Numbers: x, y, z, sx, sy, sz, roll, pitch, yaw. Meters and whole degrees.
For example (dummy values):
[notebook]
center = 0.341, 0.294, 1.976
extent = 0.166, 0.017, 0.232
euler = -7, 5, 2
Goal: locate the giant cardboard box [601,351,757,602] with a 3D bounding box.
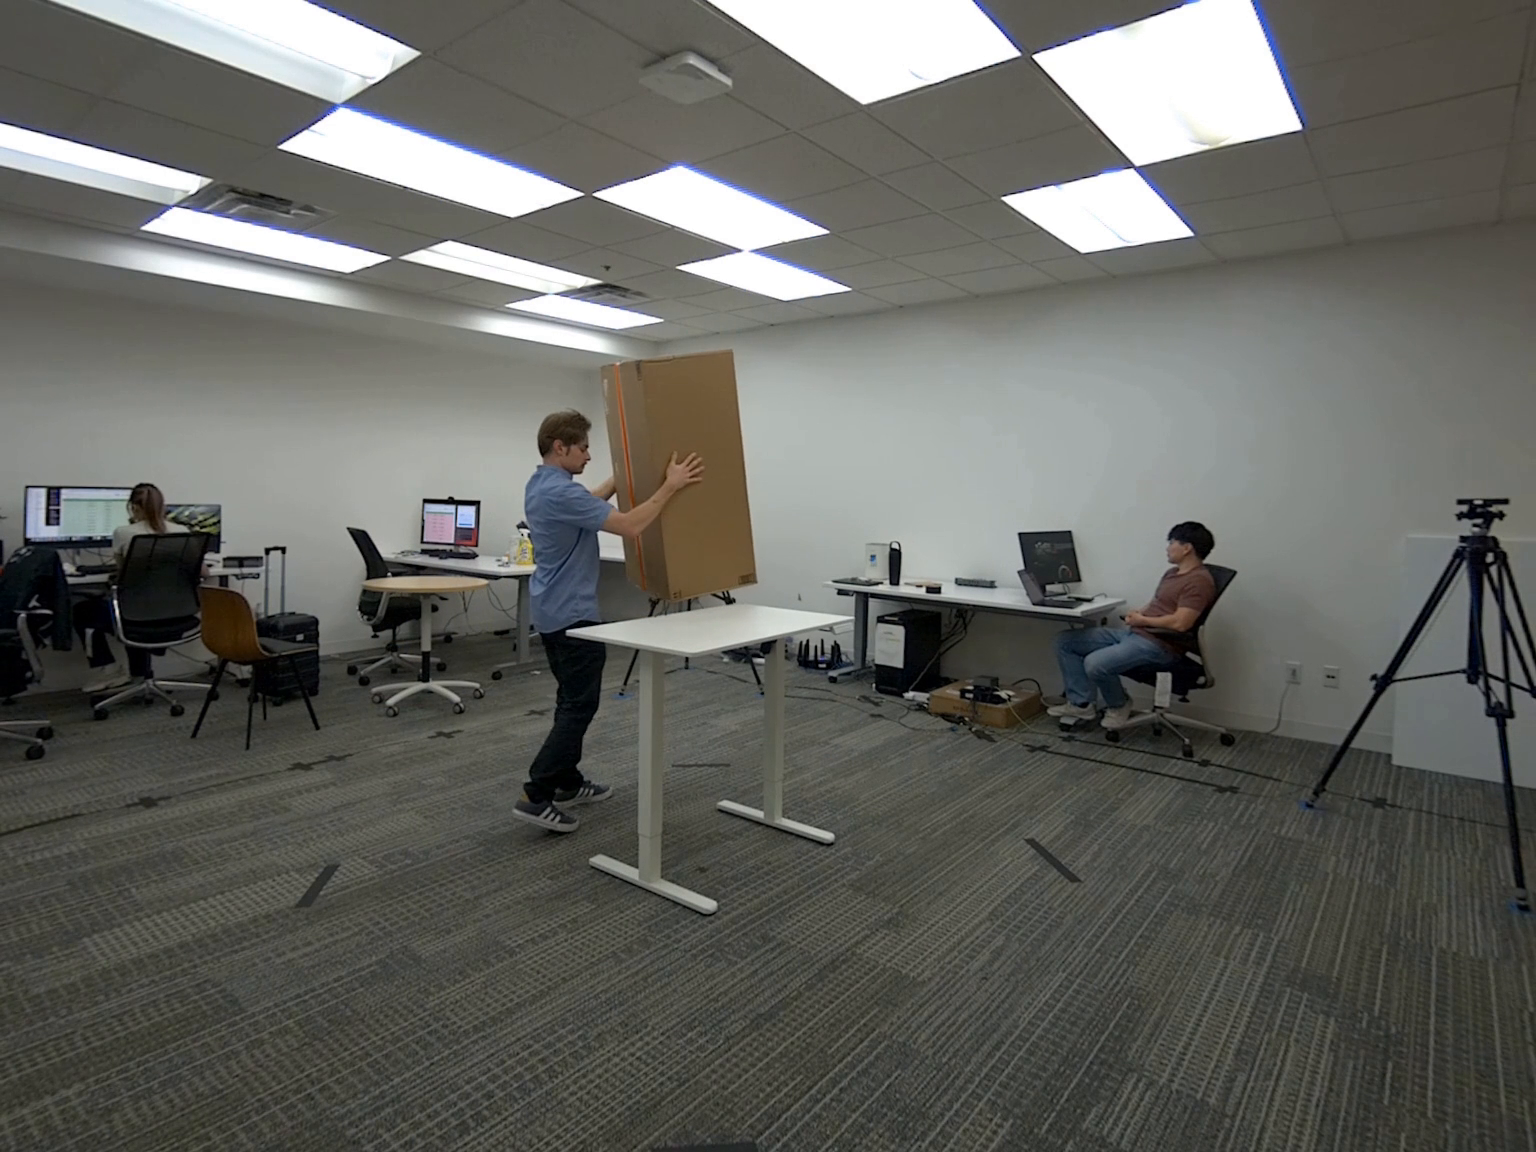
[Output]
[giant cardboard box]
center = -0.423, -0.466, 3.821
extent = 0.418, 1.014, 0.595
euler = -11, 12, -25
